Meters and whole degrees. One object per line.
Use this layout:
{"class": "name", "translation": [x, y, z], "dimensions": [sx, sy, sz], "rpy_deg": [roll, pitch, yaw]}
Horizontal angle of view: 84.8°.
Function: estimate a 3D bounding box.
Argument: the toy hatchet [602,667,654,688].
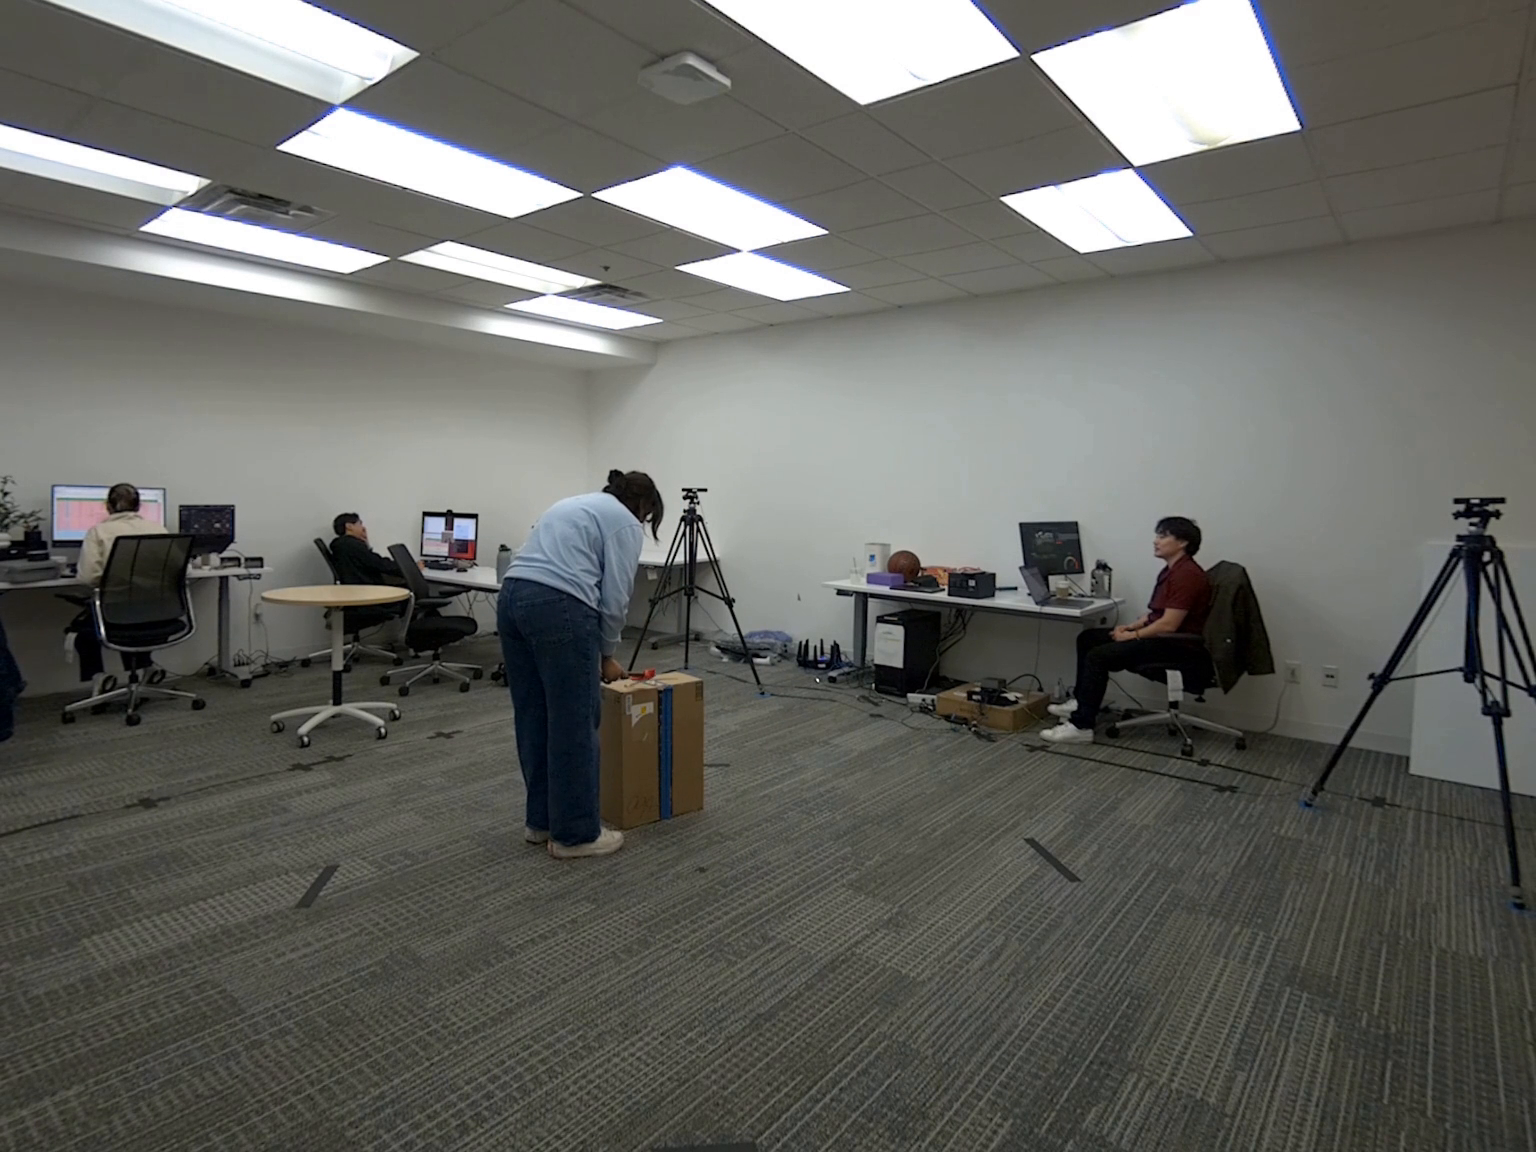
{"class": "toy hatchet", "translation": [-0.614, 0.419, 3.463], "dimensions": [0.267, 0.030, 0.129], "rpy_deg": [-4, -22, -12]}
